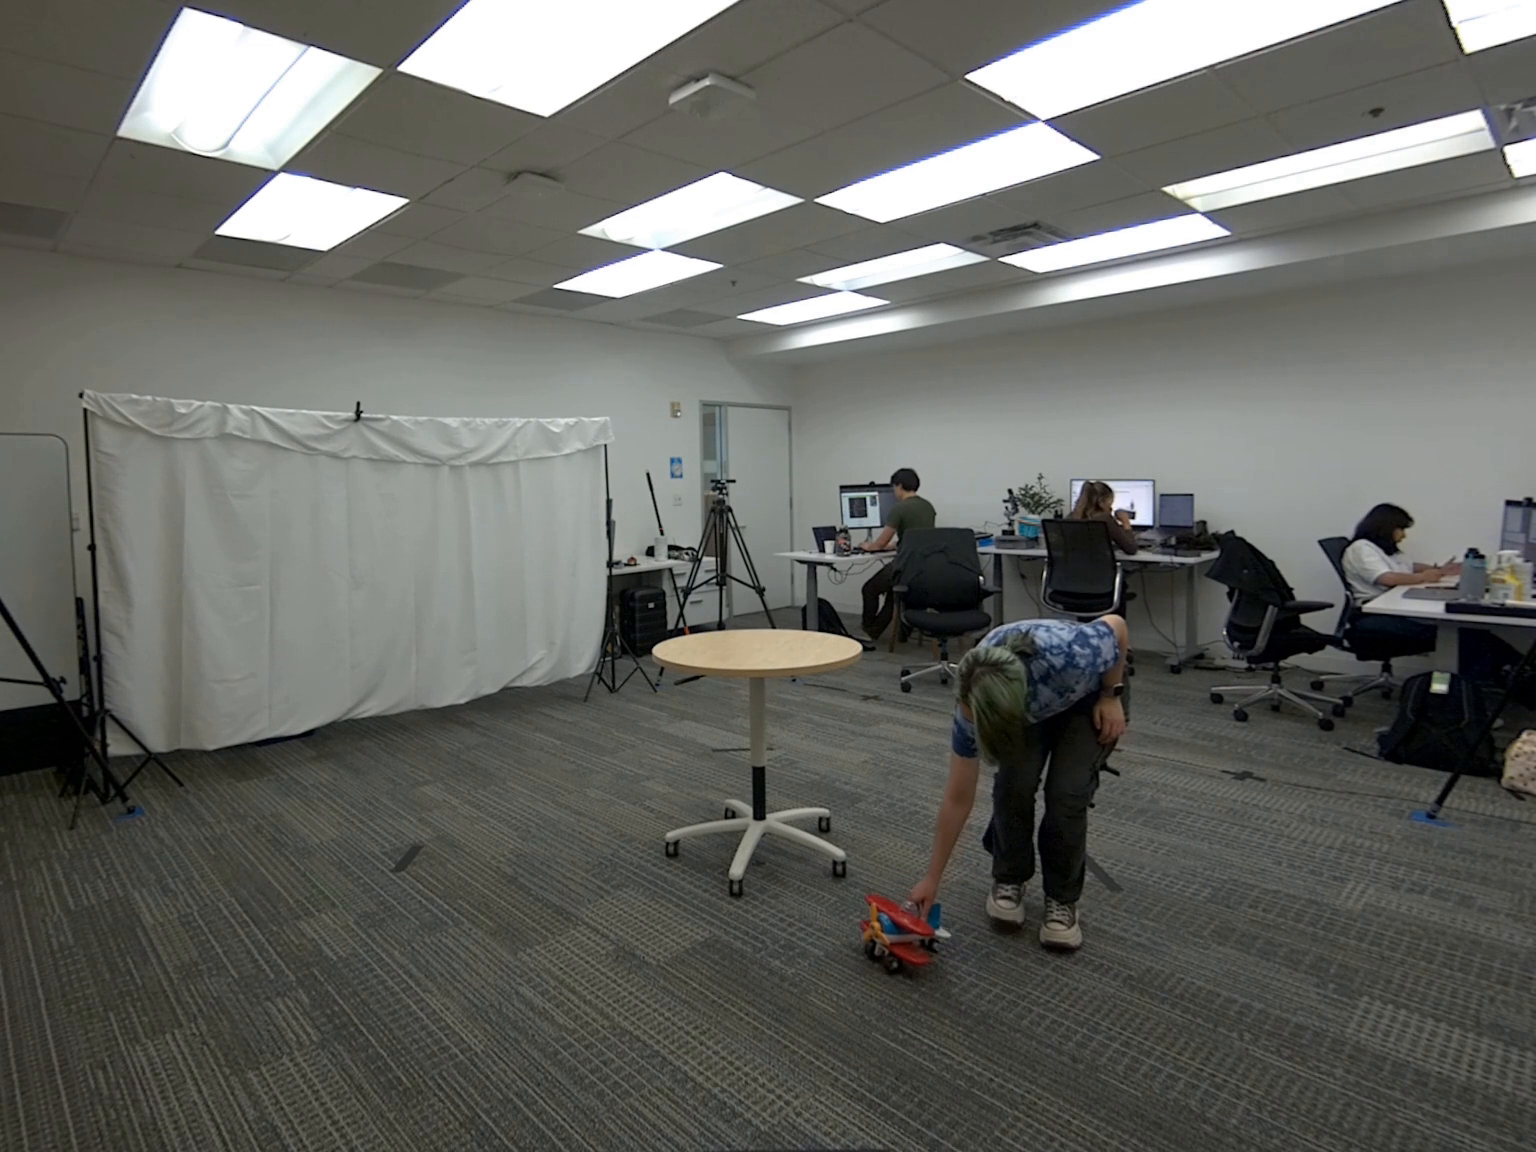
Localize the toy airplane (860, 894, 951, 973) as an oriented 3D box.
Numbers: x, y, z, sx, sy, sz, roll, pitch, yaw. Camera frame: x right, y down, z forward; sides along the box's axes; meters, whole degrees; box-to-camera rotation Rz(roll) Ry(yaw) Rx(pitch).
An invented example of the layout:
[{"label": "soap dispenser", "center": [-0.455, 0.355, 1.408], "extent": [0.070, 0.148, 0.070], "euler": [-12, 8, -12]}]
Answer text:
[{"label": "toy airplane", "center": [0.398, 1.034, 2.494], "extent": [0.257, 0.155, 0.254], "euler": [2, 8, 29]}]
